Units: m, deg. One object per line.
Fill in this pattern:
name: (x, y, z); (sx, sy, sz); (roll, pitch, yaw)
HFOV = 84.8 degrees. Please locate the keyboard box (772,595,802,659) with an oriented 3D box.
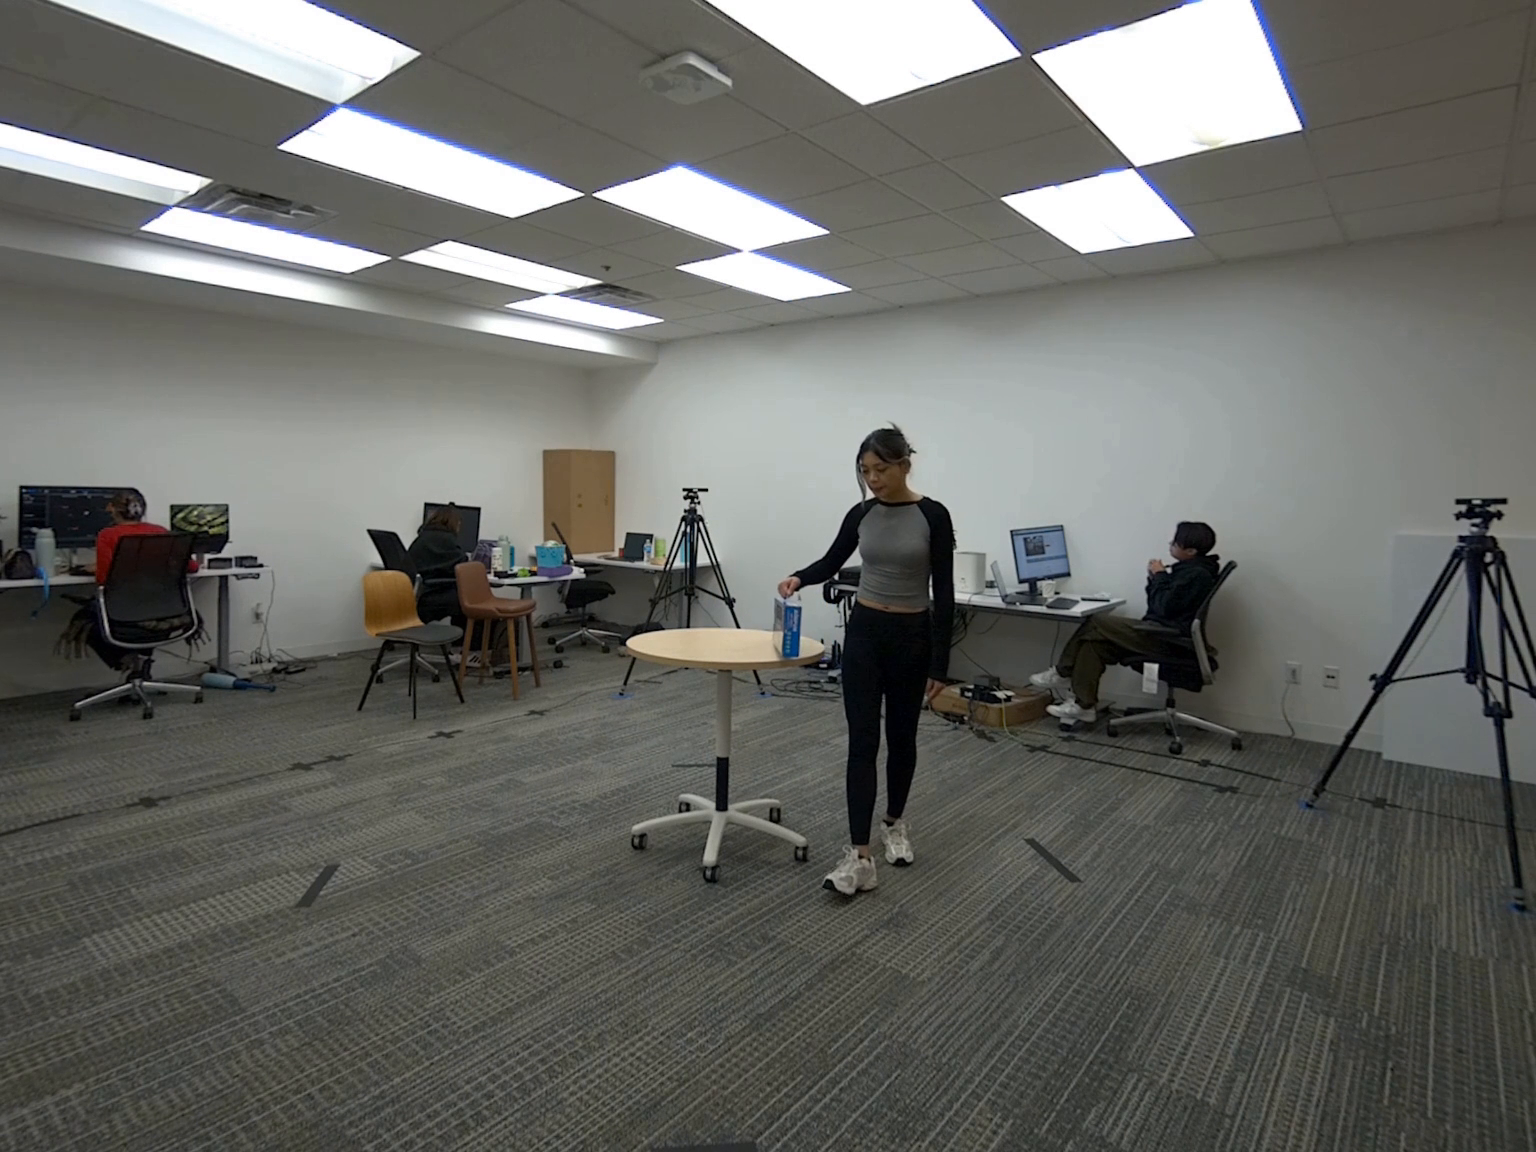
keyboard box: (0.059, 0.177, 3.079); (0.059, 0.176, 0.437); (5, 1, -3)
